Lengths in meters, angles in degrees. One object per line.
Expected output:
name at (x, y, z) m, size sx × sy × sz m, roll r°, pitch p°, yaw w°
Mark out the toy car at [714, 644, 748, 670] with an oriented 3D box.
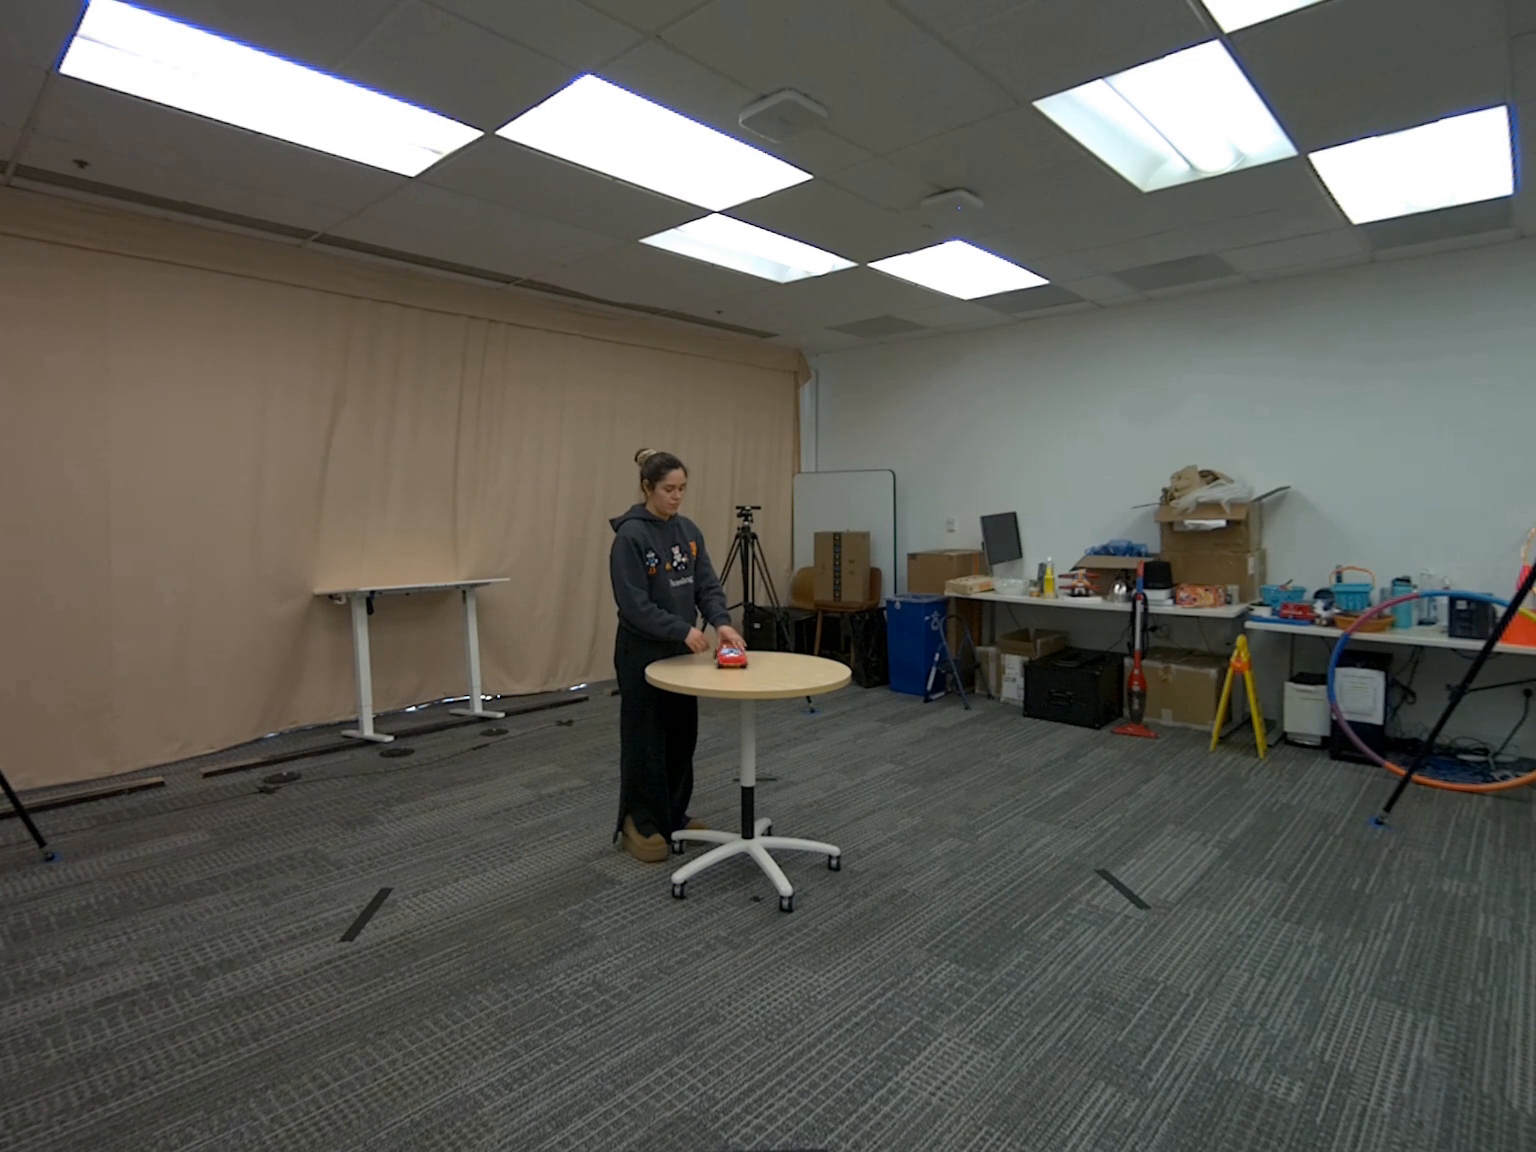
toy car at (-0.129, 0.307, 3.249) m, size 0.130 × 0.082 × 0.258 m, roll -1°, pitch 15°, yaw -5°
